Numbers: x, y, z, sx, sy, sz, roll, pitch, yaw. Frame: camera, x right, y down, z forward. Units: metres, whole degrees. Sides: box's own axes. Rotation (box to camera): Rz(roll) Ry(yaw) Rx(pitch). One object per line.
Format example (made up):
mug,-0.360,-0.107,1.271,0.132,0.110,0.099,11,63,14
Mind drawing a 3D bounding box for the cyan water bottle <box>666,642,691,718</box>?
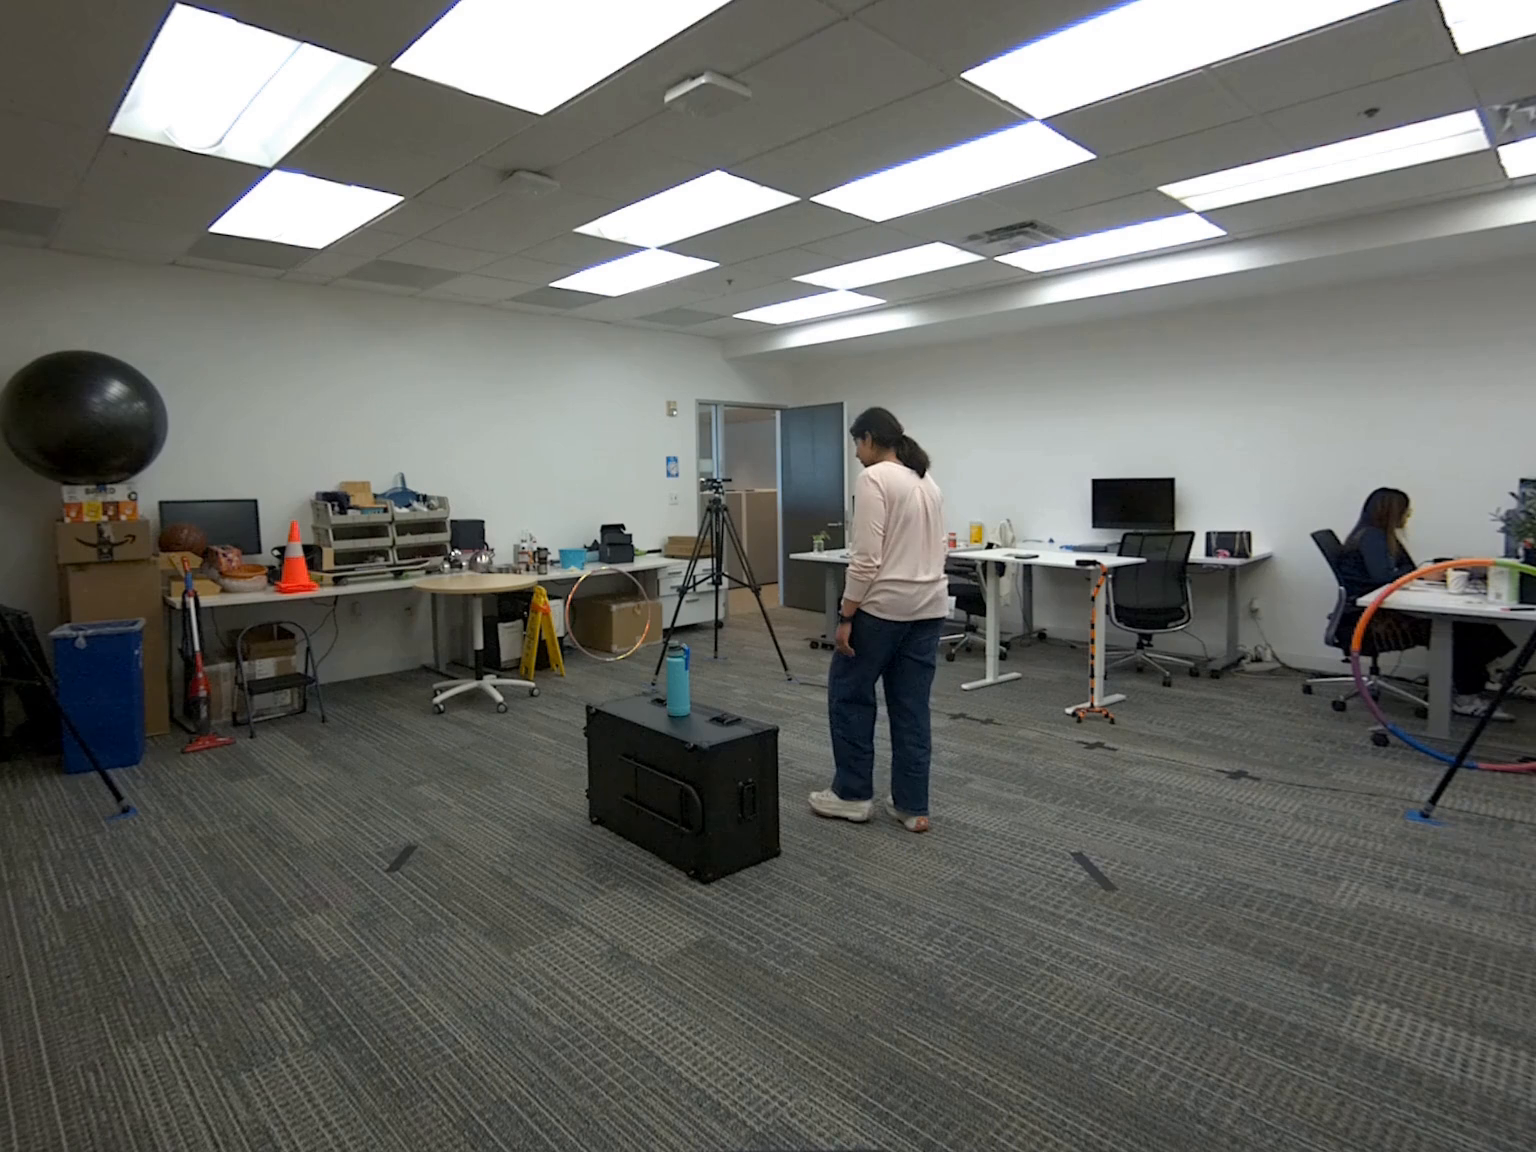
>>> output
cyan water bottle,-0.350,0.399,3.355,0.092,0.283,0.092,0,3,-2
